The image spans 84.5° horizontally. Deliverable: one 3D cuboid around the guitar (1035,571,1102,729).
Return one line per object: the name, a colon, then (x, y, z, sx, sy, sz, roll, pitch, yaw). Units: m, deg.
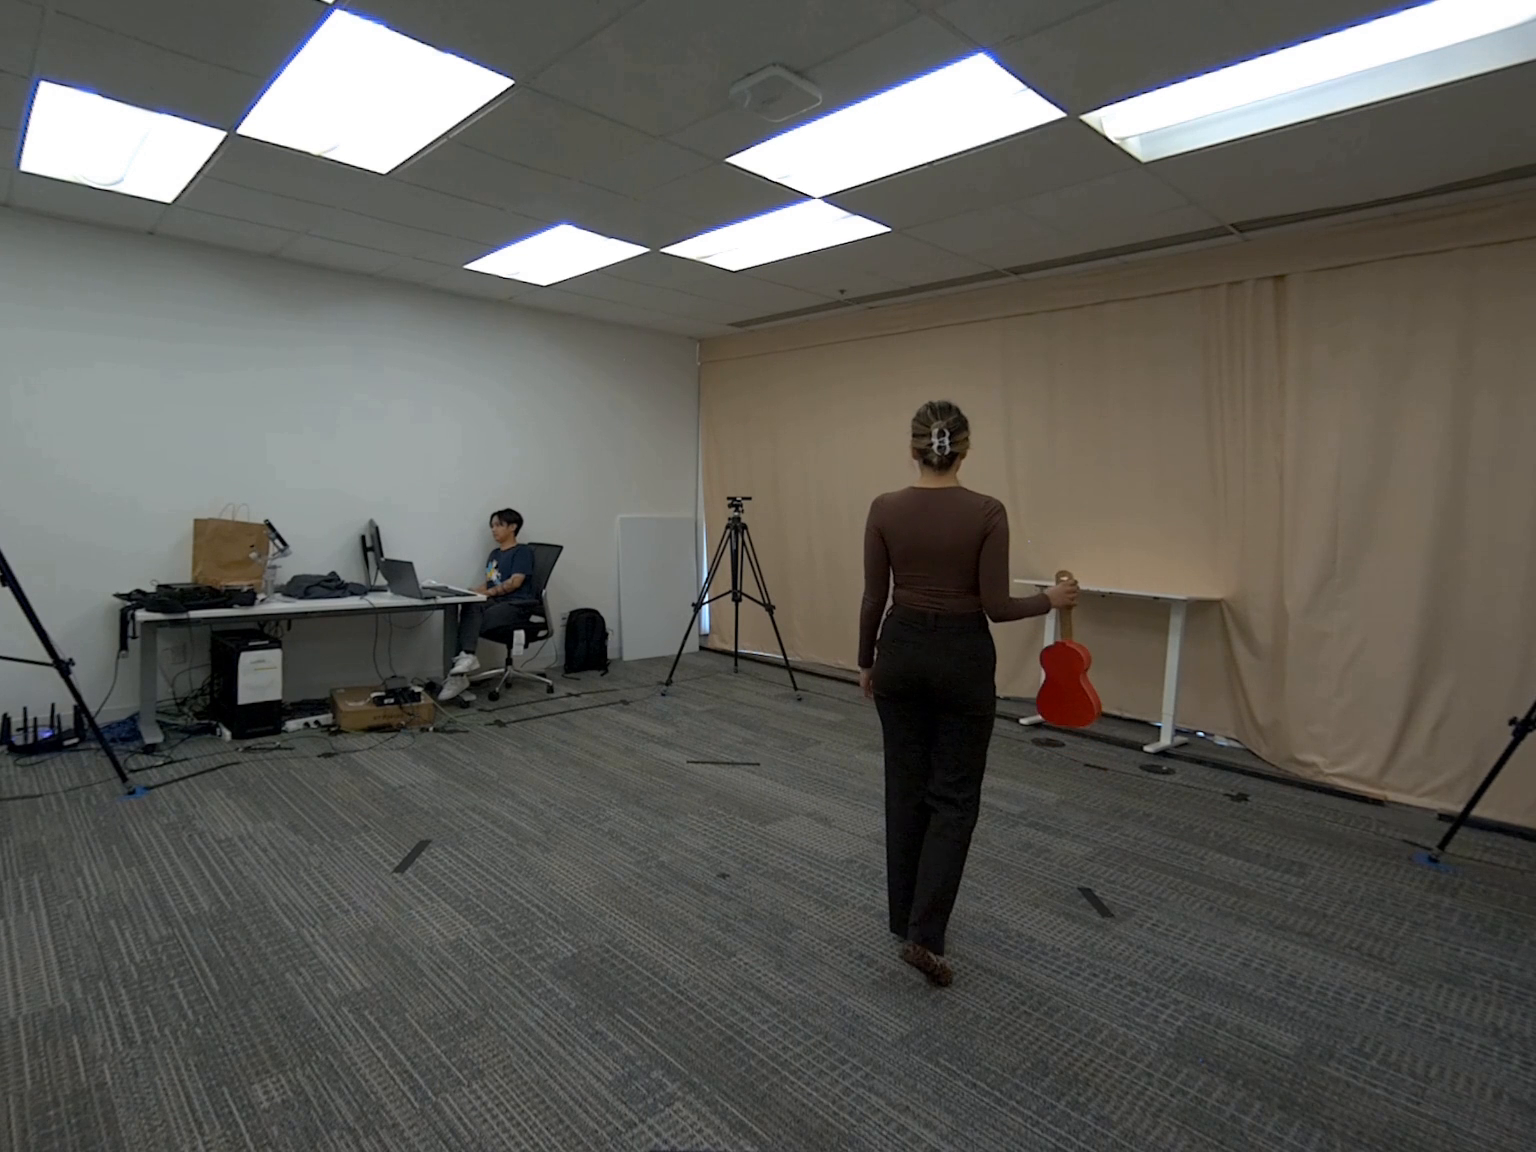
guitar: (0.910, 0.230, 2.737, 0.197, 0.498, 0.069, -10, -1, 44)
